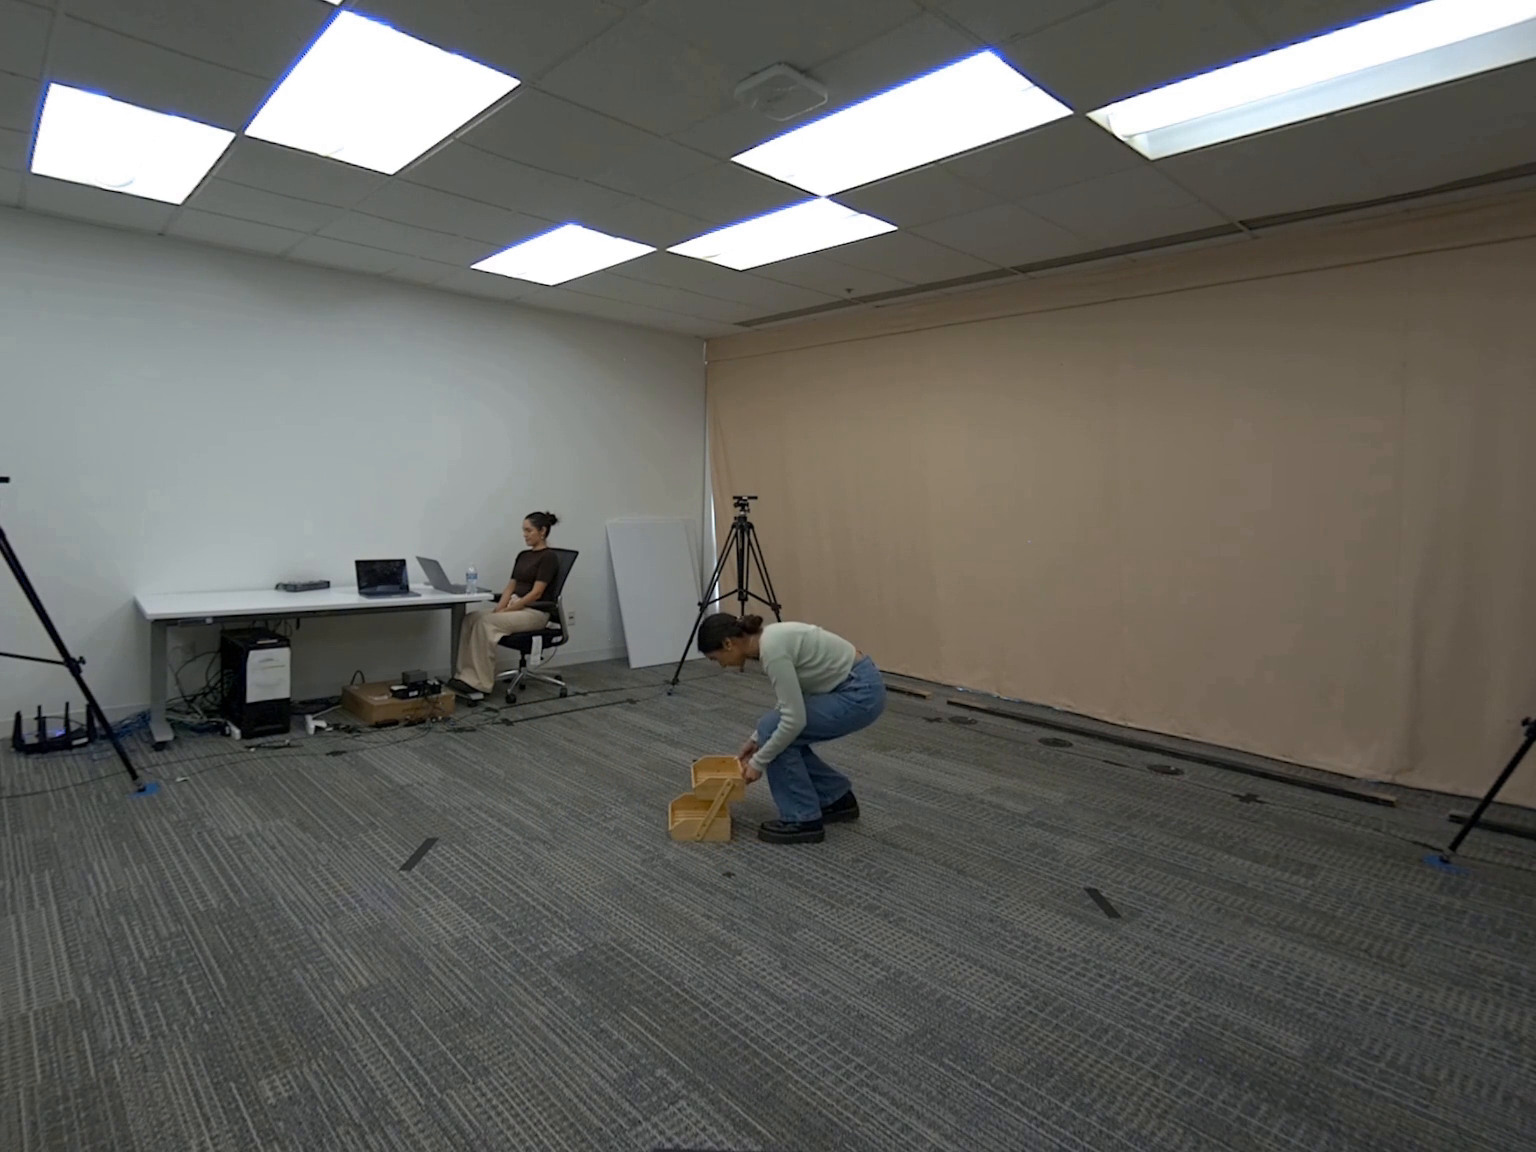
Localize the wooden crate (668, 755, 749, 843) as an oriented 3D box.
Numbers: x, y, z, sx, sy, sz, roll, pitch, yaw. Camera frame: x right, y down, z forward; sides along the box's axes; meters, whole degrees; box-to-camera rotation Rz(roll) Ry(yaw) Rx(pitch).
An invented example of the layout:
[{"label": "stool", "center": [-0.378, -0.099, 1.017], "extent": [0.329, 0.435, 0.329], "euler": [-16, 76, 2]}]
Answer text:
[{"label": "wooden crate", "center": [-0.274, 0.926, 3.544], "extent": [0.301, 0.272, 0.327], "euler": [1, 4, -6]}]
